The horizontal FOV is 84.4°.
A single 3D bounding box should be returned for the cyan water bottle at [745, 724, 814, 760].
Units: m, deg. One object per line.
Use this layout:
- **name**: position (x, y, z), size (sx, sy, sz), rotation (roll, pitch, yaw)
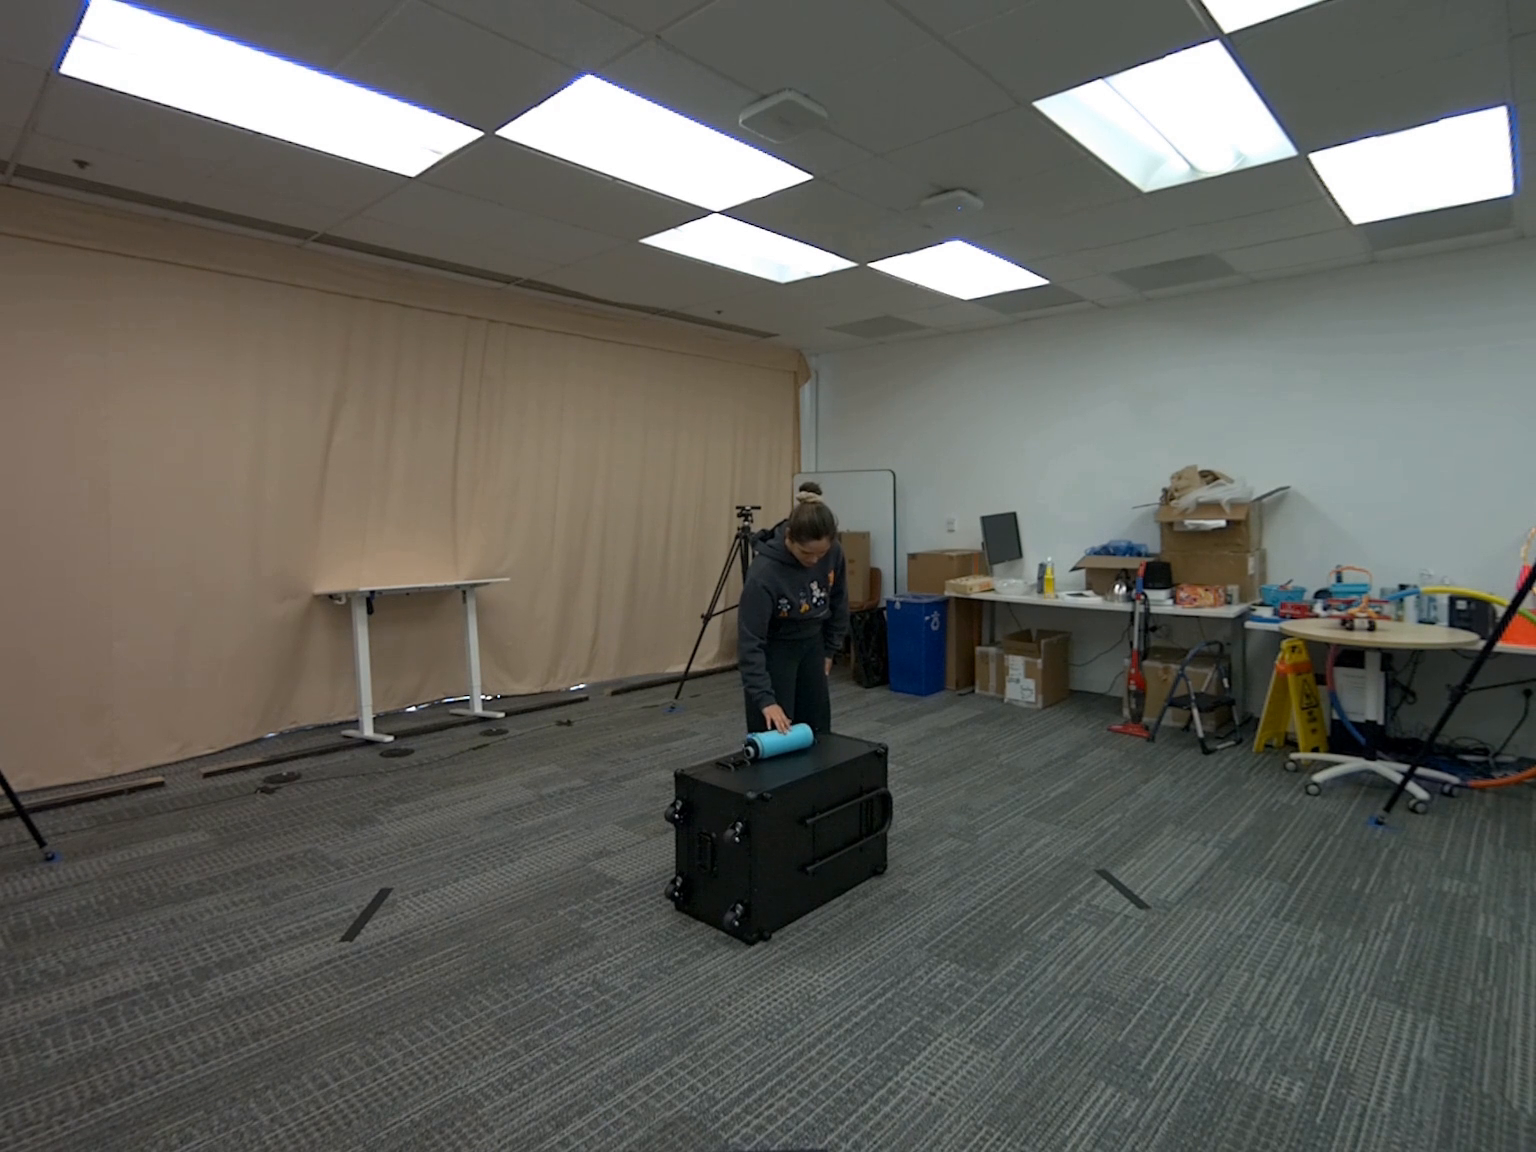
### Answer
- **cyan water bottle**: position (0.055, 0.599, 3.070), size (0.275, 0.092, 0.095), rotation (-7, 7, -34)
